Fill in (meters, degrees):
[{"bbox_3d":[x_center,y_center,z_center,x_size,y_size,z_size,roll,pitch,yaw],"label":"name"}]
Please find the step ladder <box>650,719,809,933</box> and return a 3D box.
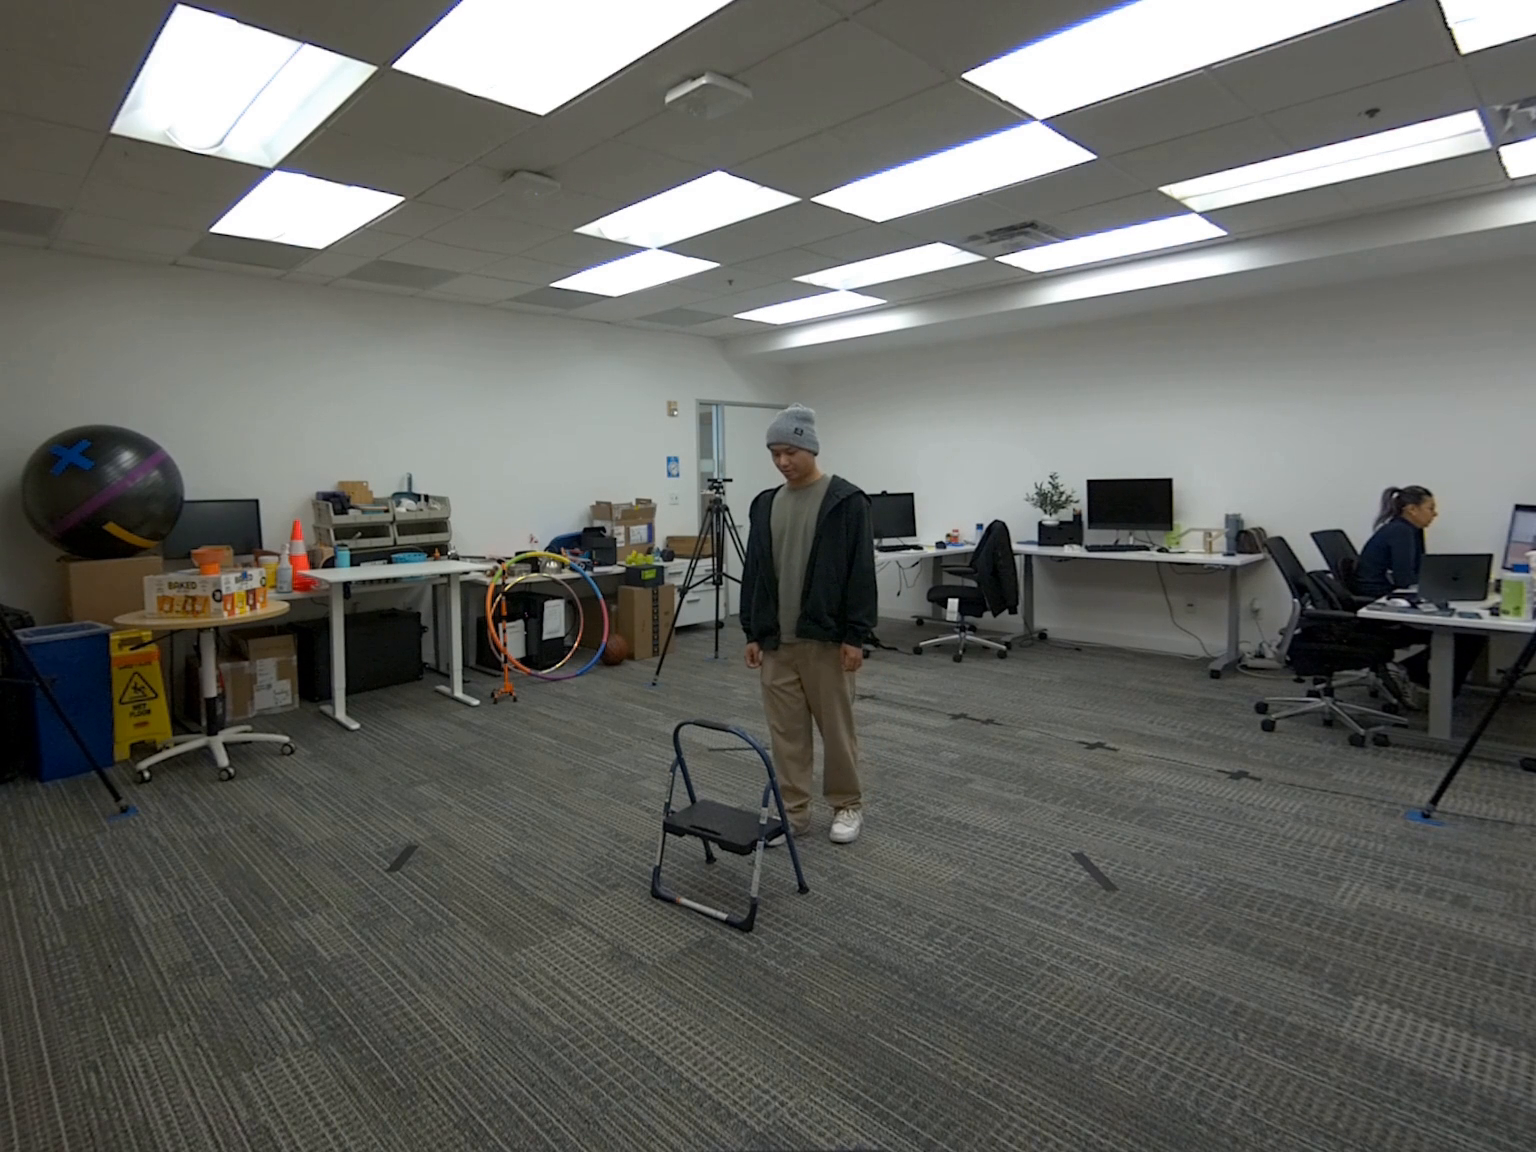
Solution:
[{"bbox_3d":[-0.136,0.770,2.867,0.443,0.604,0.341,2,5,35],"label":"step ladder"}]
